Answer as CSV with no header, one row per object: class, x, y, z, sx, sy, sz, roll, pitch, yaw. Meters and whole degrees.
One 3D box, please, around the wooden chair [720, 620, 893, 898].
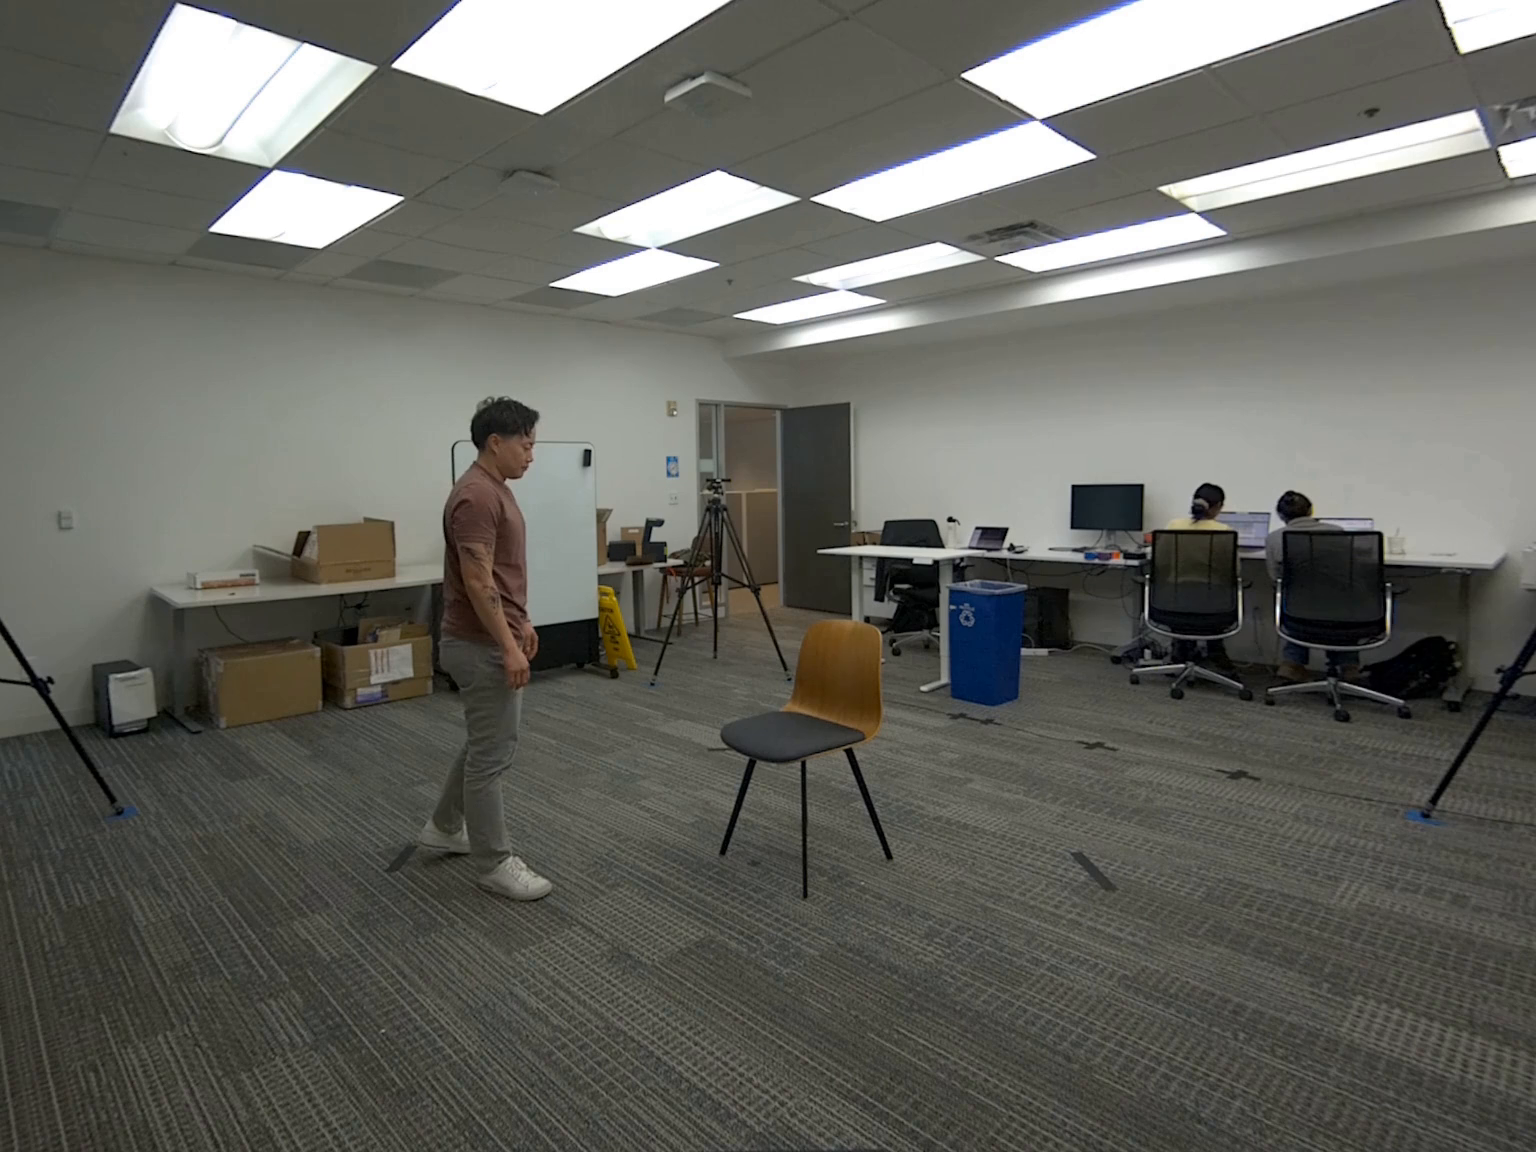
wooden chair,0.123,0.609,3.108,0.508,0.876,0.493,1,2,-42
